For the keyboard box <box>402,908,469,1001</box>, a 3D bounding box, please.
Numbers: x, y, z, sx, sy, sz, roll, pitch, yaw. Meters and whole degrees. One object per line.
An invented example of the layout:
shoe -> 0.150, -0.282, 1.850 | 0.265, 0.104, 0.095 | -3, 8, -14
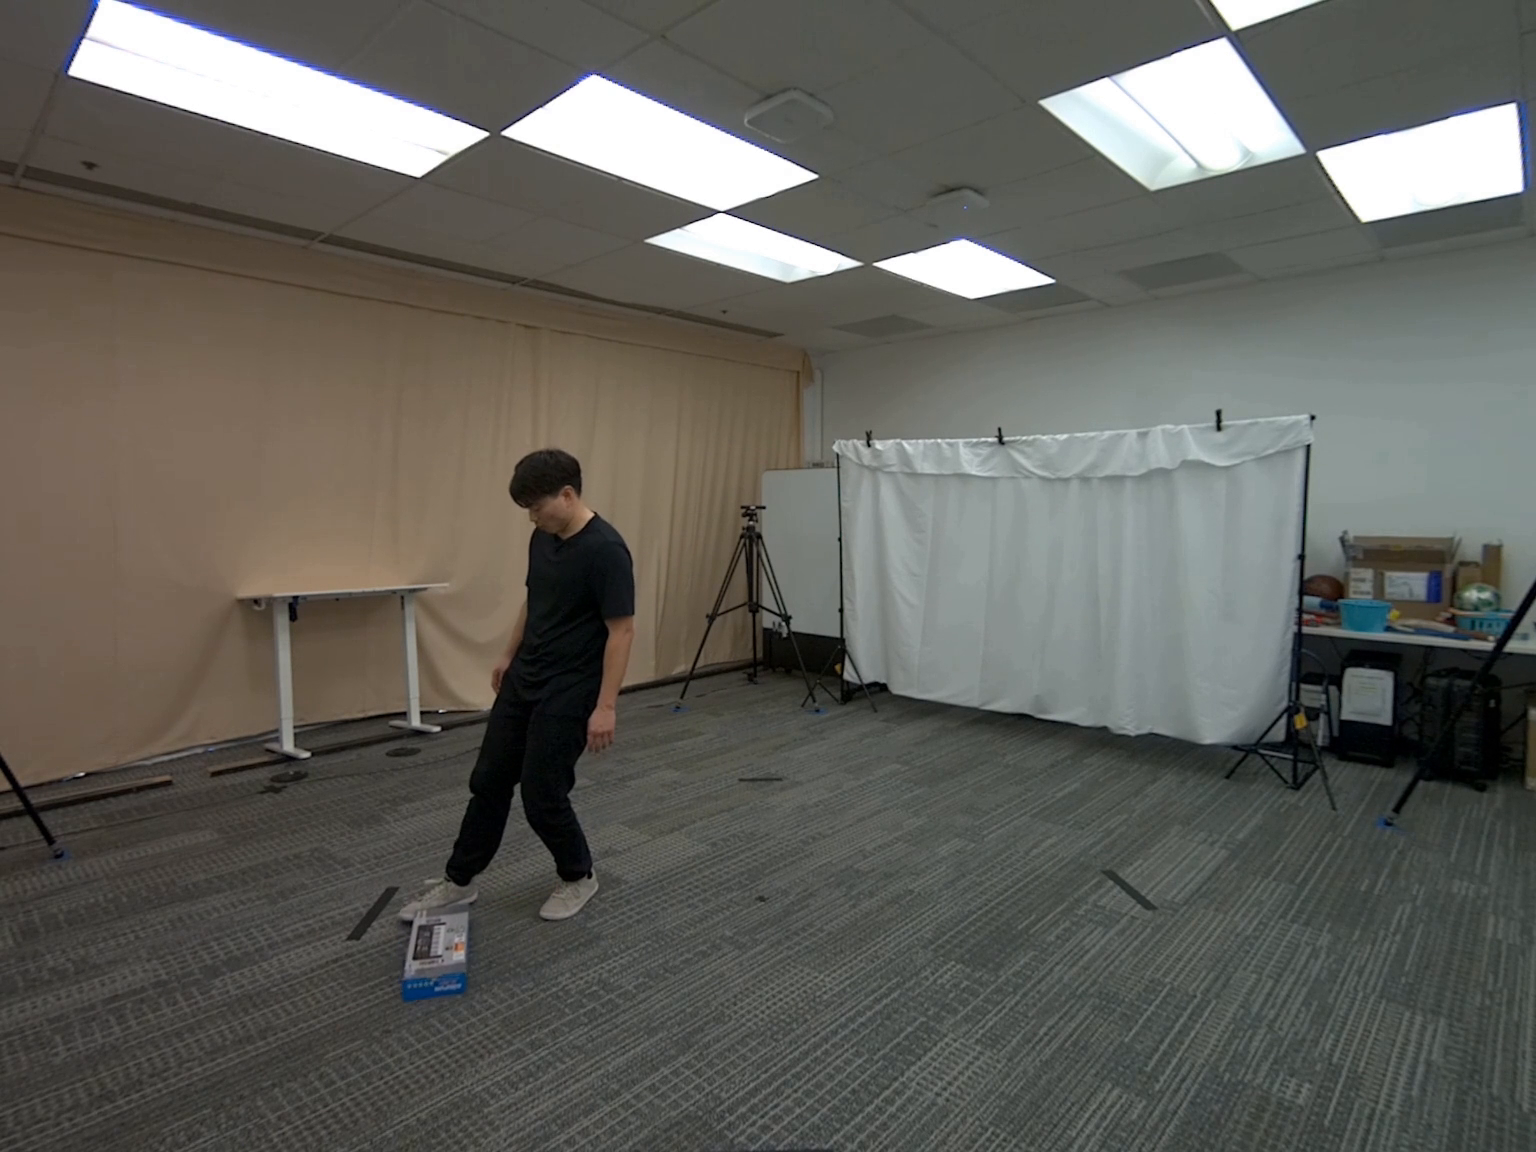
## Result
keyboard box -> -1.022, 1.155, 2.607 | 0.173, 0.059, 0.445 | -2, 5, -17
